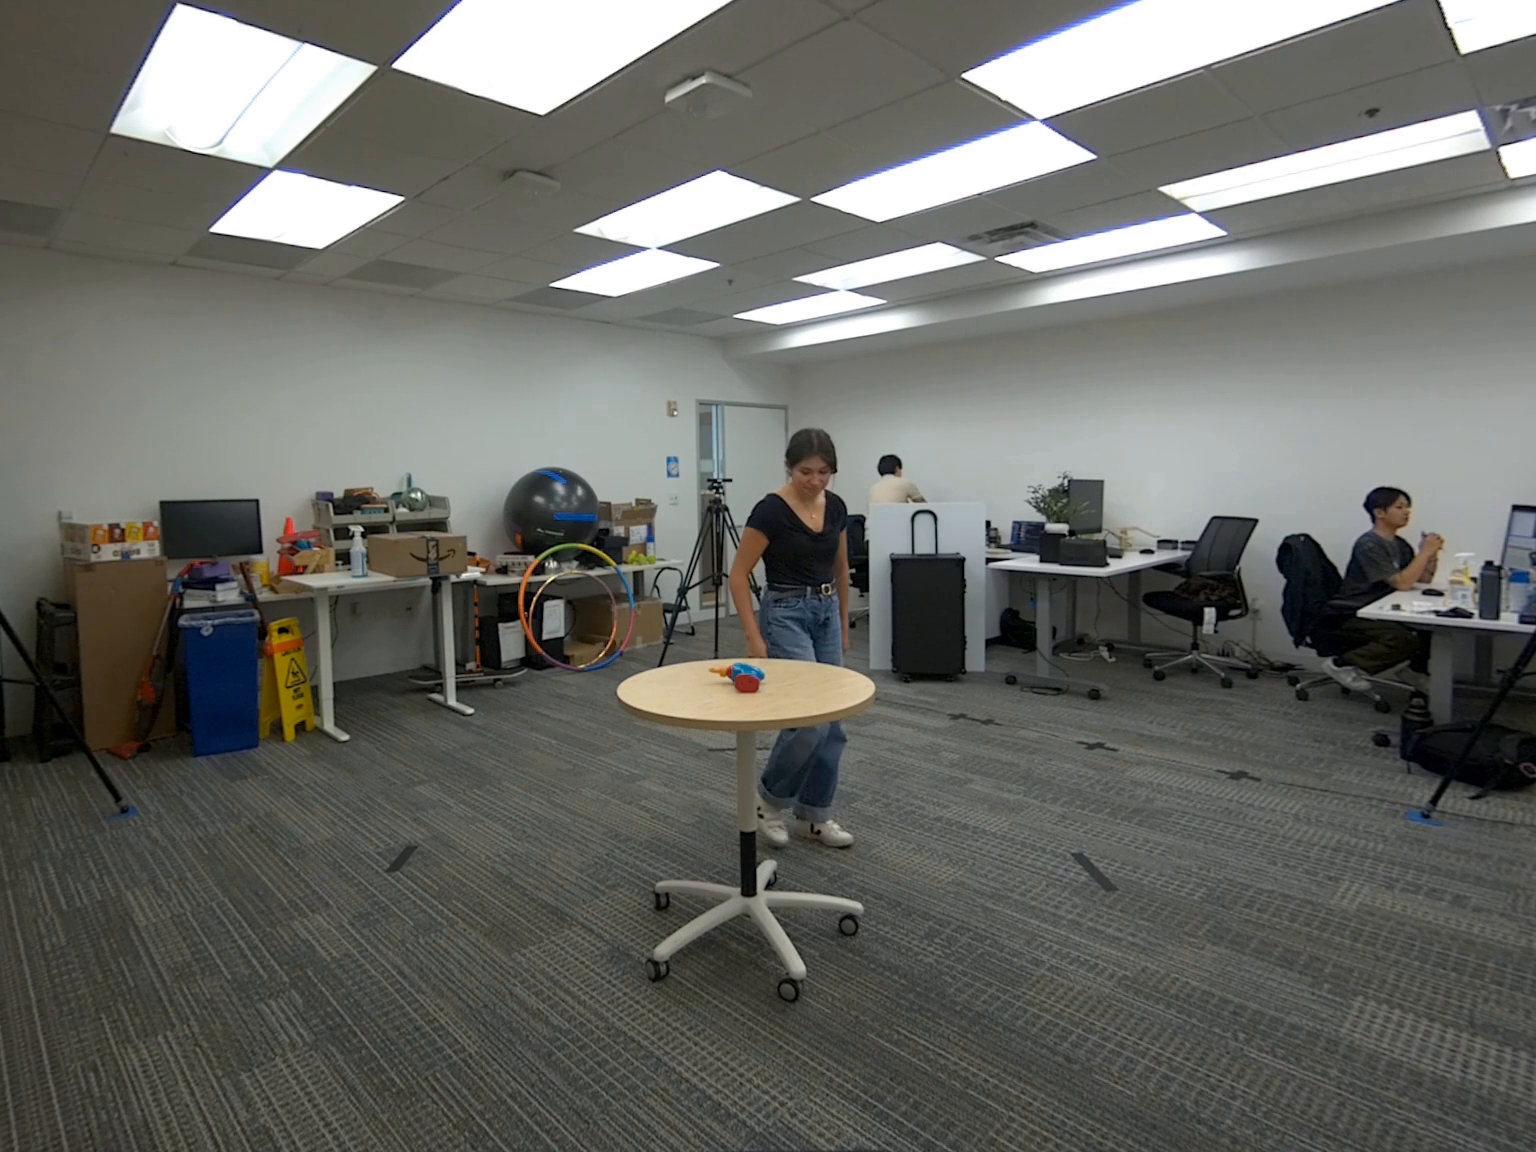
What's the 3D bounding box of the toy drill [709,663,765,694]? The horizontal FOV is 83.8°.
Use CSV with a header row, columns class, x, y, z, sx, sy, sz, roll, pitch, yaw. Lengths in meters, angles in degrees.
class,x,y,z,sx,sy,sz,roll,pitch,yaw
toy drill,-0.095,0.301,2.535,0.170,0.061,0.146,8,7,3
